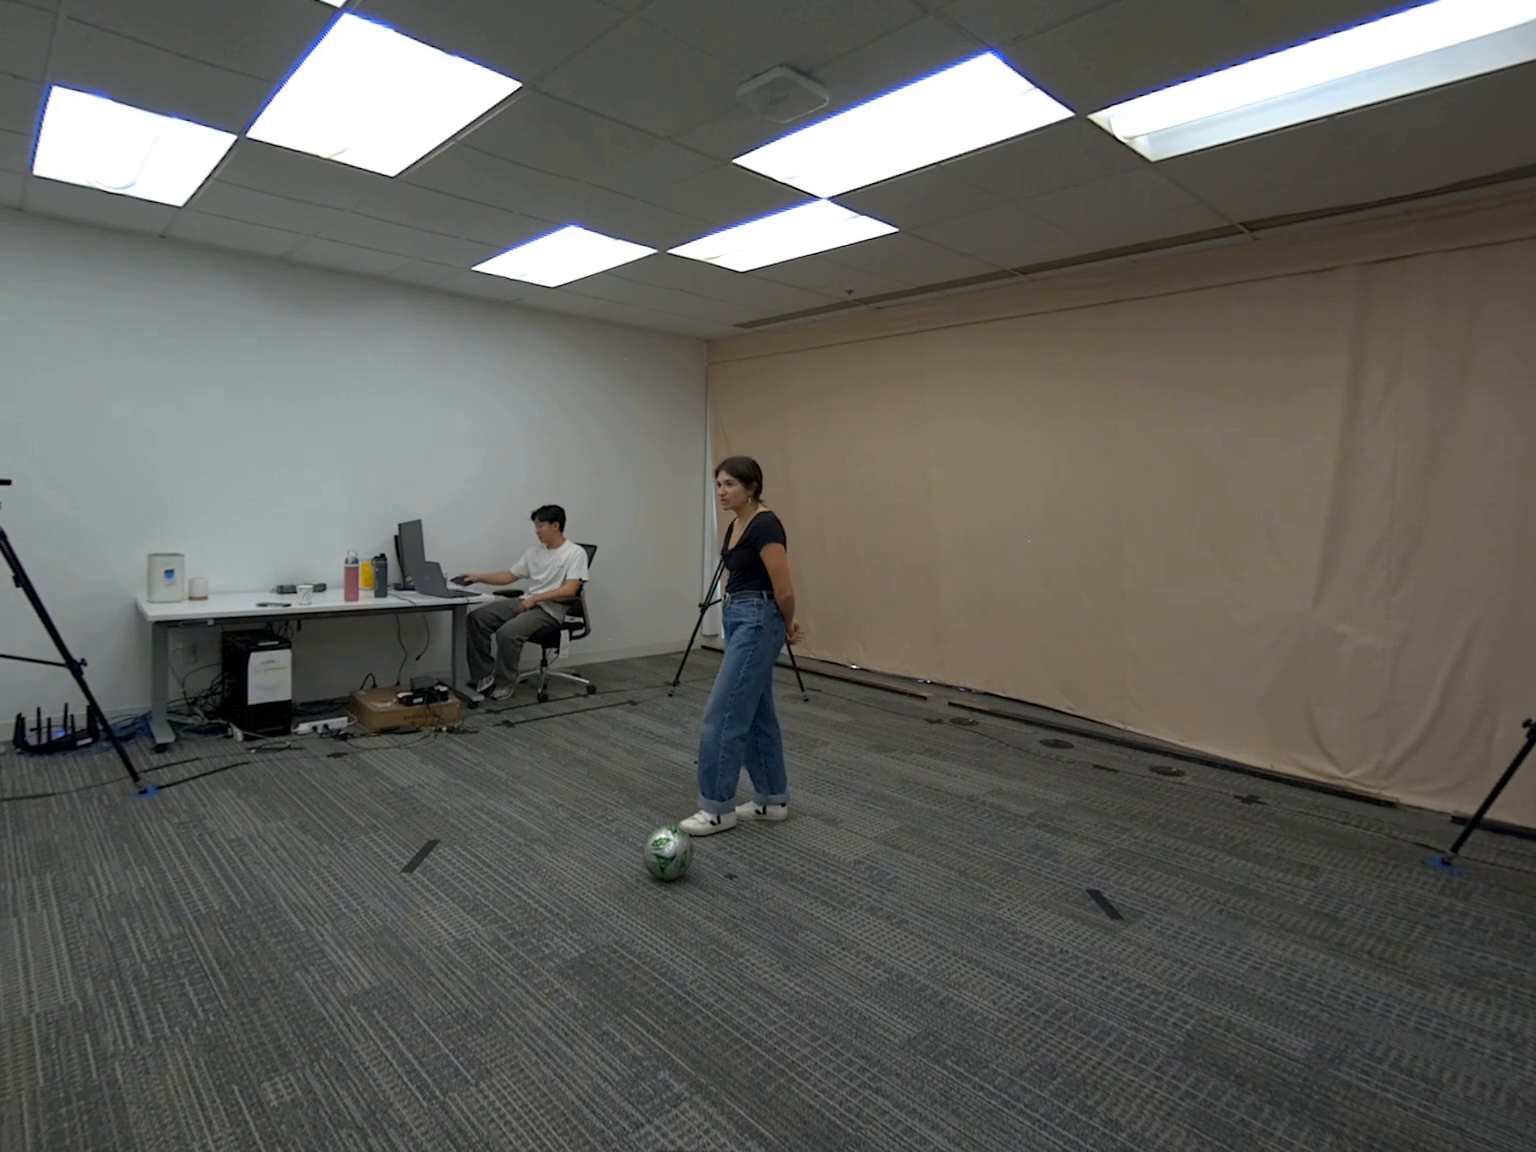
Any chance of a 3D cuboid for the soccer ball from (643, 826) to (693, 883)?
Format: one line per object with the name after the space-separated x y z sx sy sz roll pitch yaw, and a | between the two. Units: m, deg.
-0.370 1.013 3.070 0.187 0.187 0.188 1 4 -1 | soccer ball
